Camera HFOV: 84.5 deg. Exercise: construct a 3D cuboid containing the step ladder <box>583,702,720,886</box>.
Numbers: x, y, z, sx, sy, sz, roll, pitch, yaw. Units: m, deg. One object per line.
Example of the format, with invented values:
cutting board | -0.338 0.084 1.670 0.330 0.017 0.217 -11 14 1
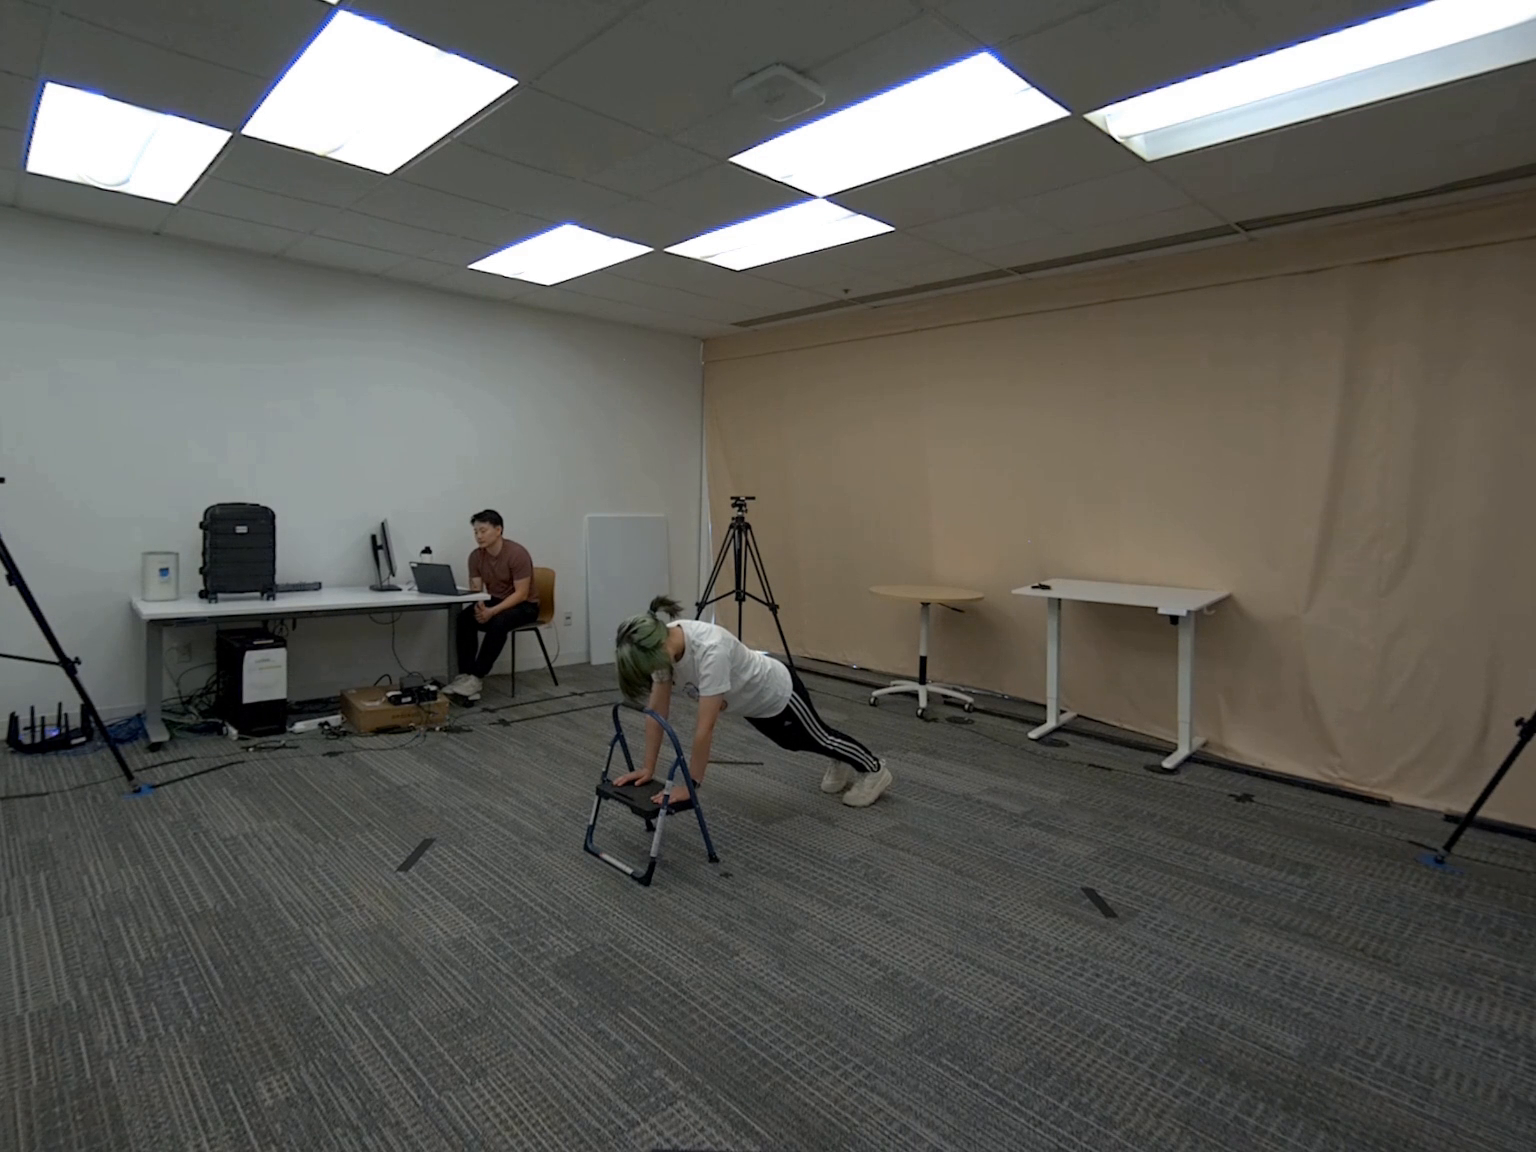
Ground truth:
step ladder | -0.458 0.783 3.242 0.341 0.604 0.442 -2 5 -44
